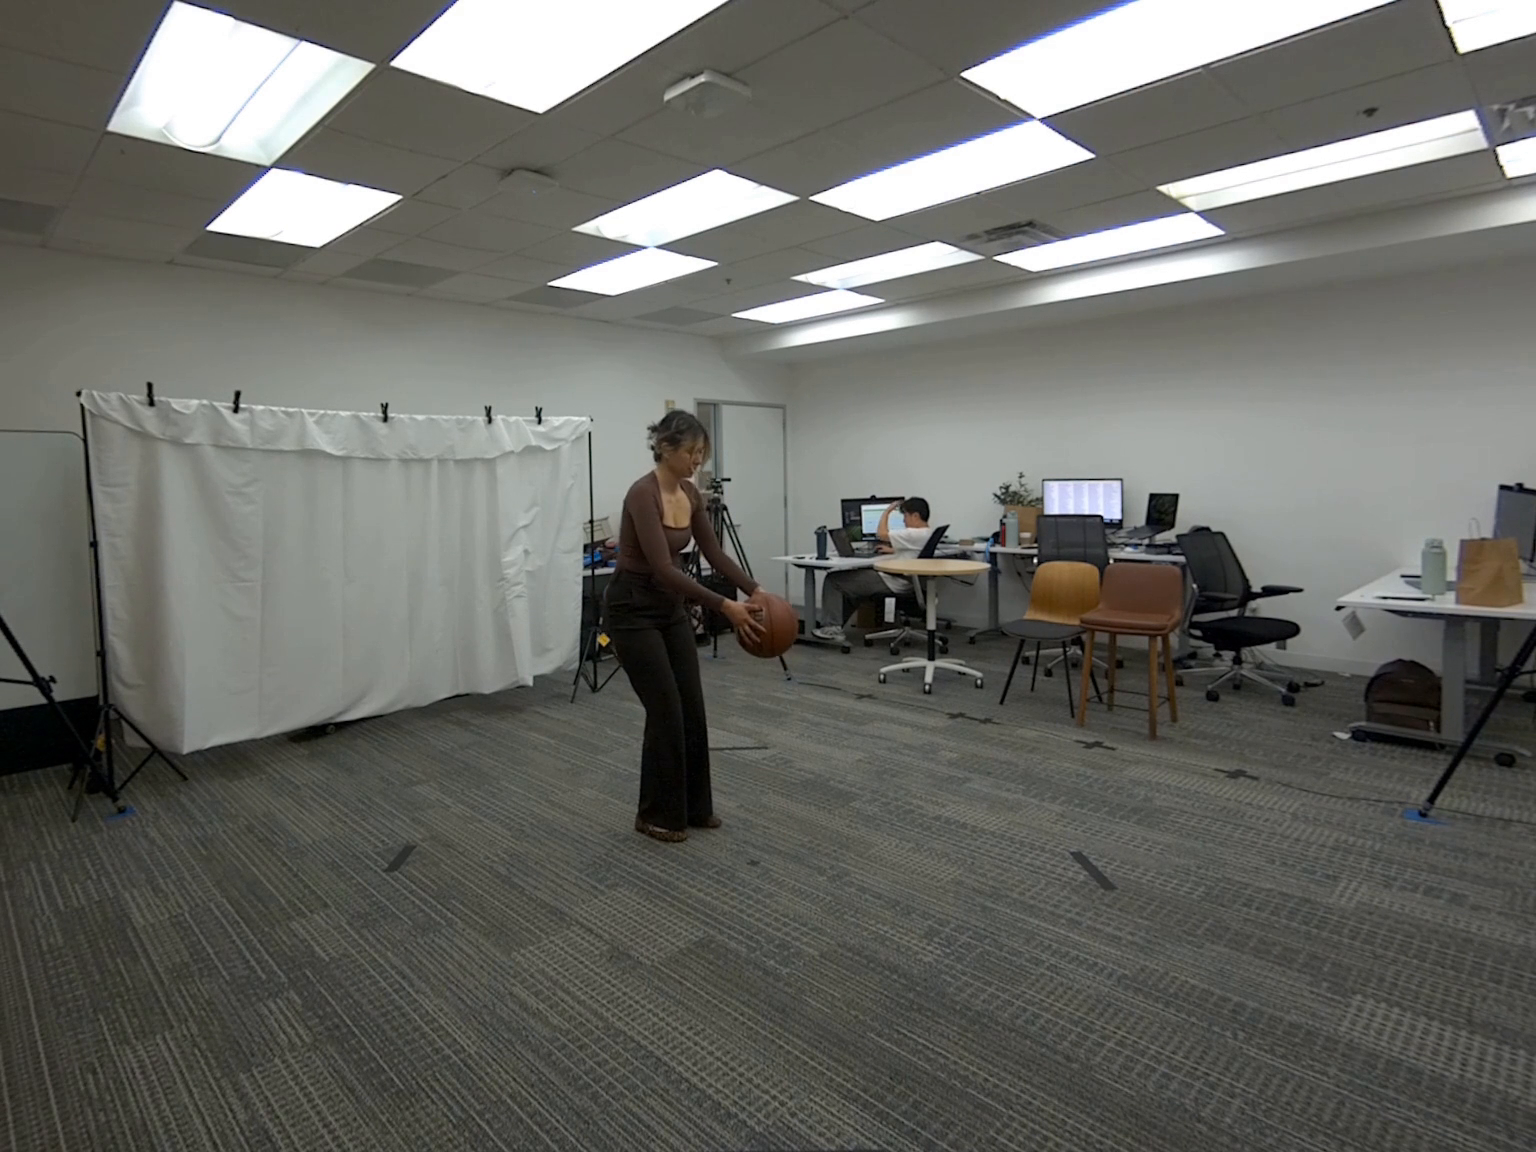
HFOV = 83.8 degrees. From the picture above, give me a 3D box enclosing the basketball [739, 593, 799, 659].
[{"bbox_3d":[-0.007,0.182,3.137,0.236,0.235,0.237,-1,5,-2],"label":"basketball"}]
